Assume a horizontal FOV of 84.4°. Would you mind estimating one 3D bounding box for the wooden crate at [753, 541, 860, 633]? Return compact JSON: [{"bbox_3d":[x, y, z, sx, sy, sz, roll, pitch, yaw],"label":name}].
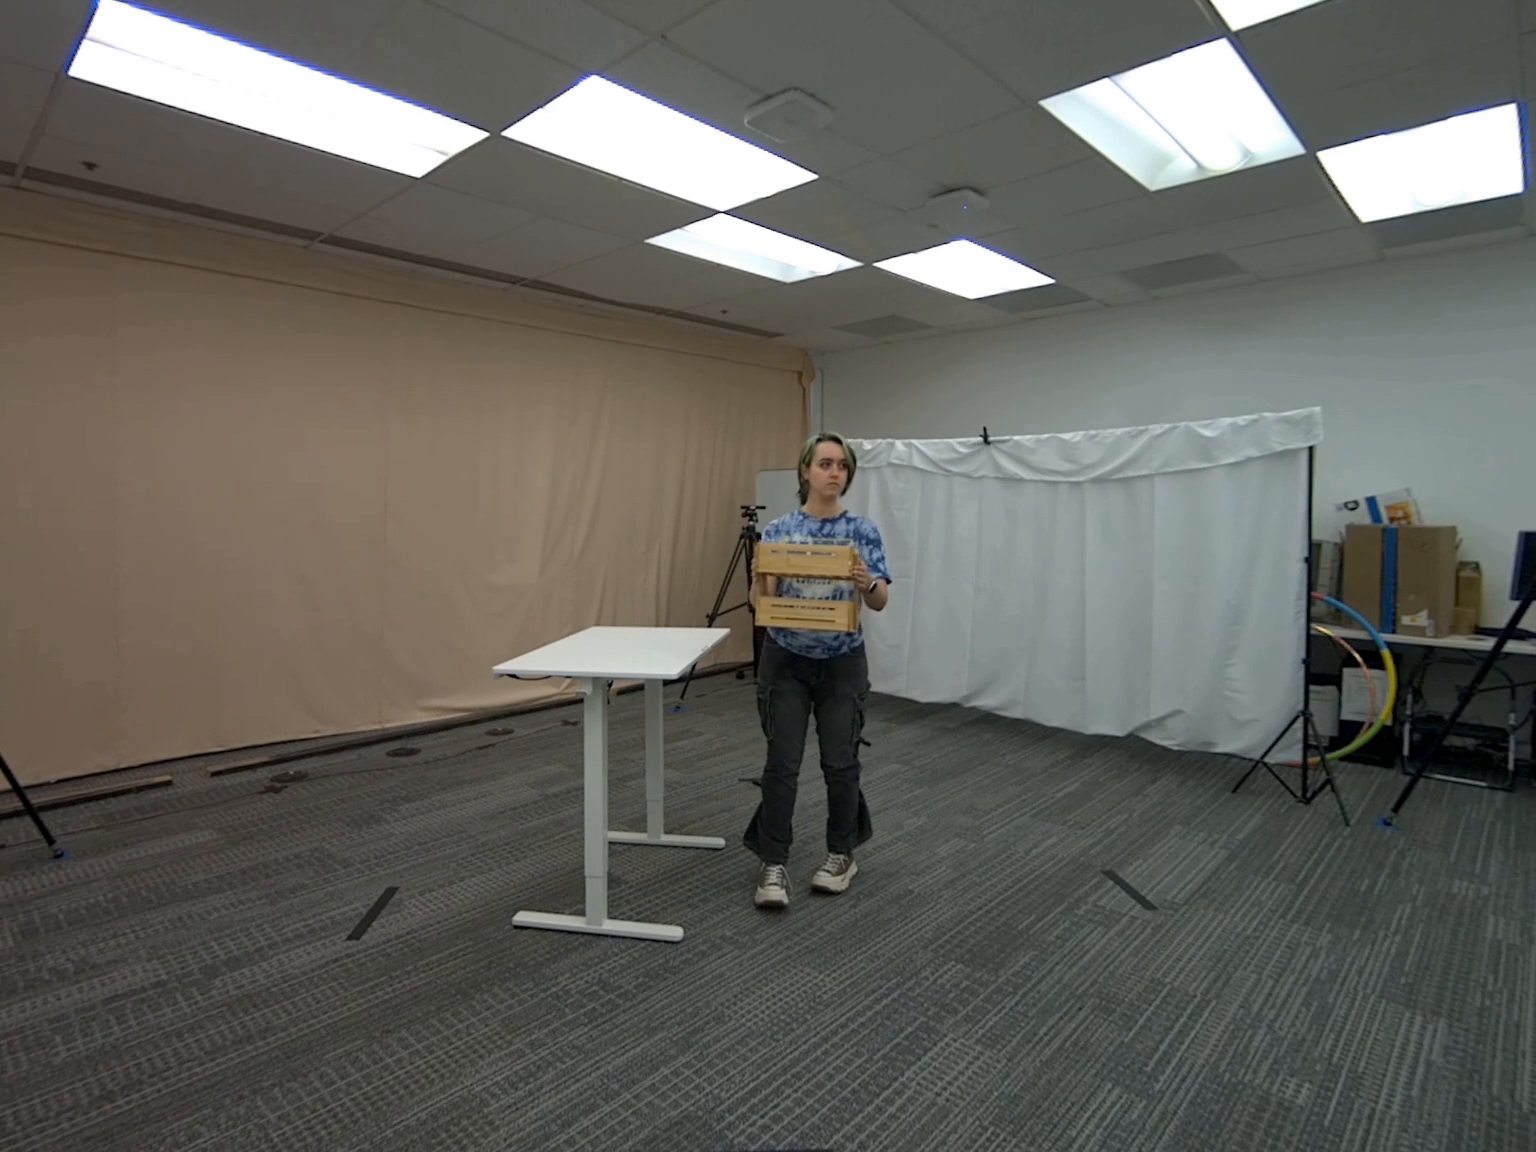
[{"bbox_3d":[0.132,0.042,2.744,0.329,0.274,0.297,3,-5,12],"label":"wooden crate"}]
